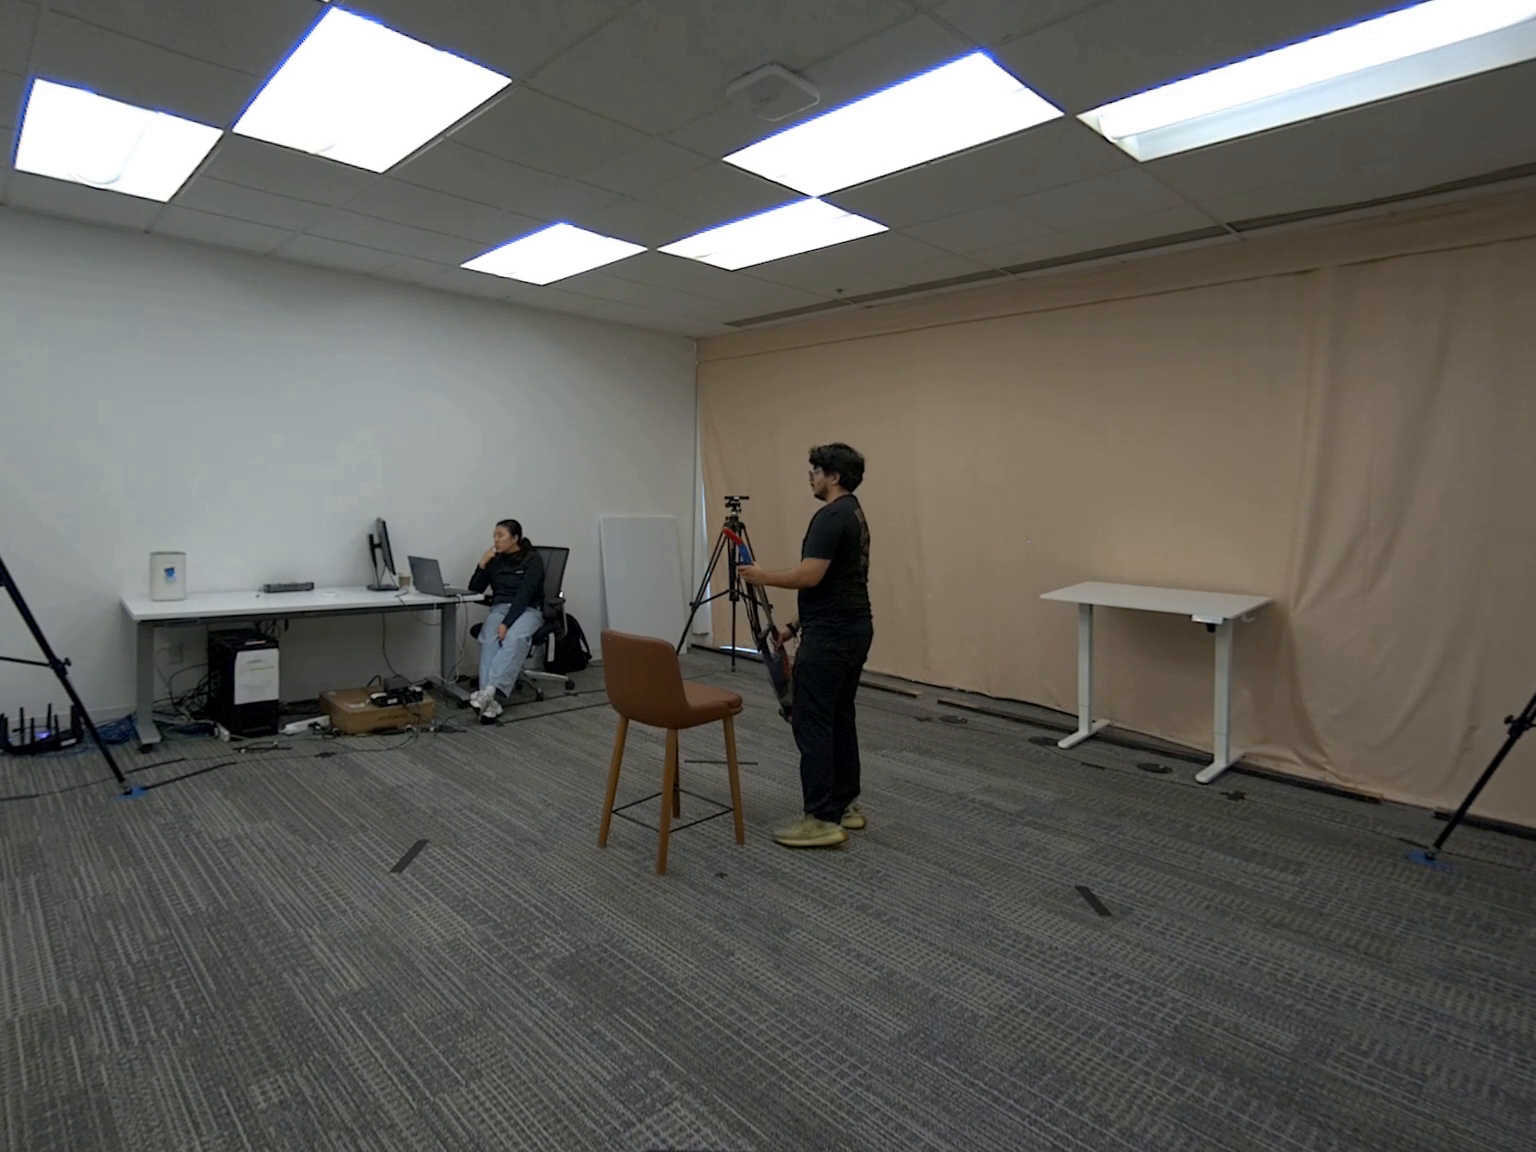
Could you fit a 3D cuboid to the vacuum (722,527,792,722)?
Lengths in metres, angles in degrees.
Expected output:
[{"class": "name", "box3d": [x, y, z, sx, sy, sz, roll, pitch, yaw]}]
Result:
[{"class": "vacuum", "box3d": [-0.034, 0.238, 3.789, 0.143, 1.027, 0.260, -30, 26, -20]}]
